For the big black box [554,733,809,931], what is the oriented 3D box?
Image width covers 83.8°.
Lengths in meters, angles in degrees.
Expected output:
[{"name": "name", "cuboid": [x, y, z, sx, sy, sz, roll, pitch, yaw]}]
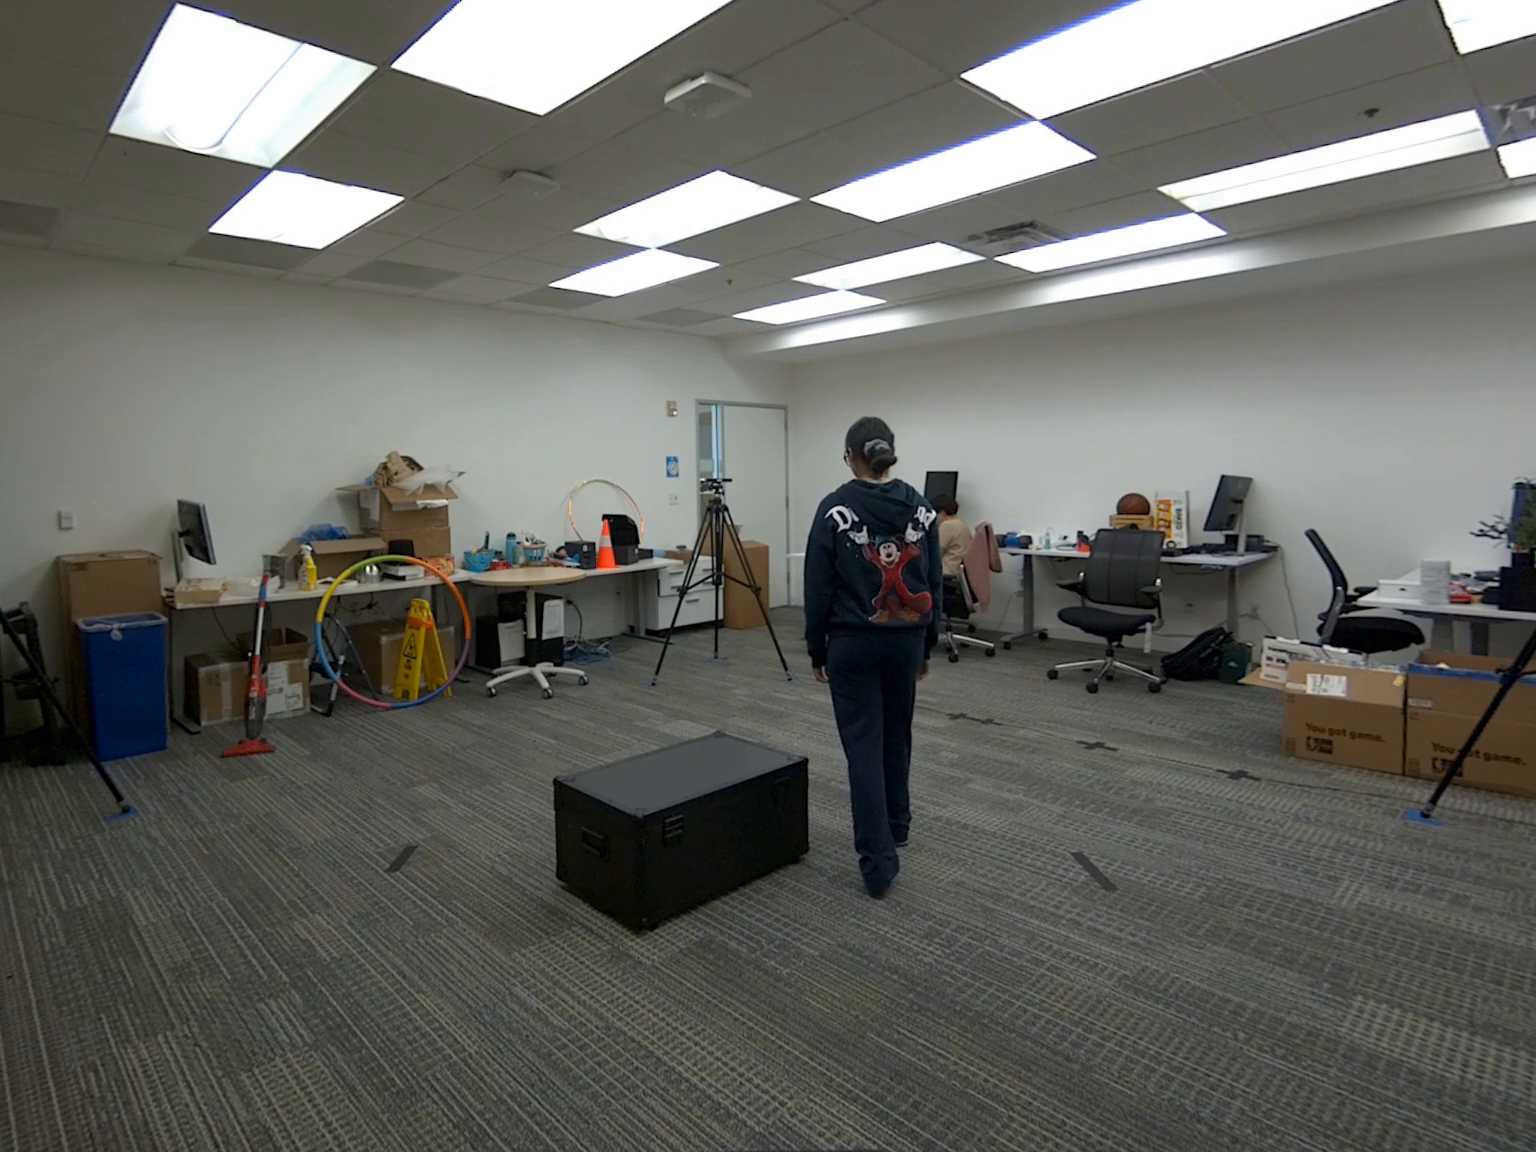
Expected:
[{"name": "big black box", "cuboid": [-0.269, 0.864, 3.054, 0.839, 0.394, 0.537, -7, 9, -44]}]
